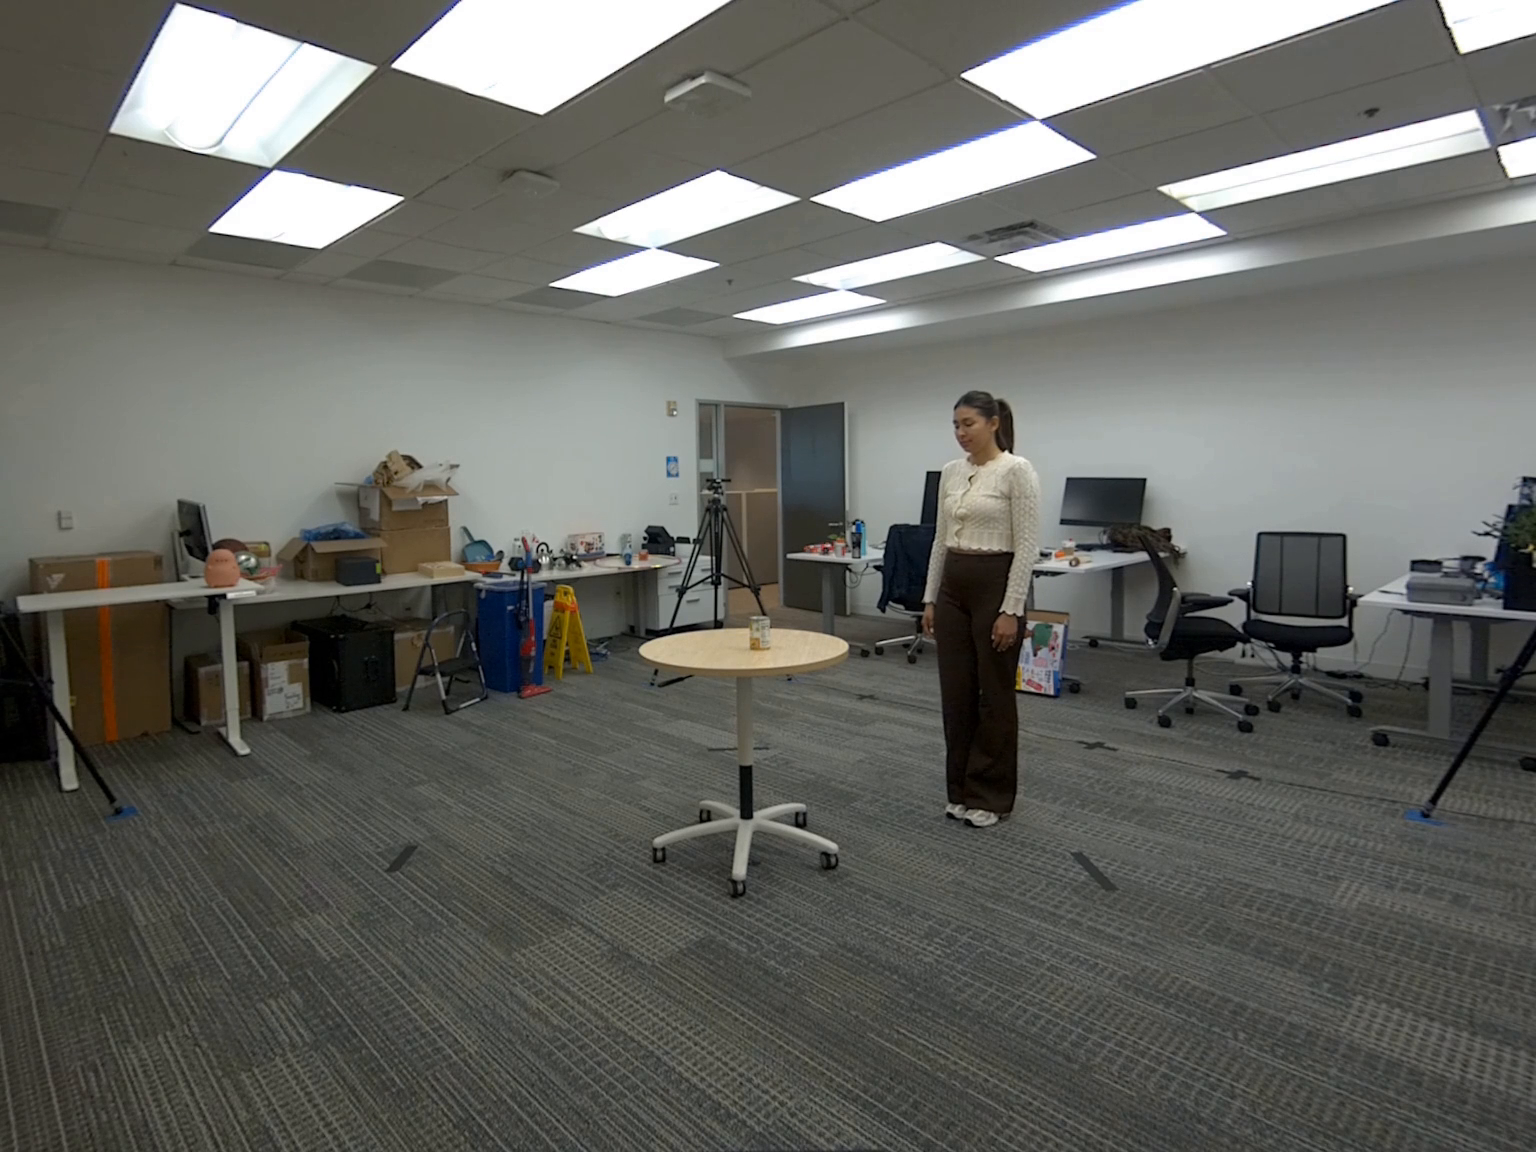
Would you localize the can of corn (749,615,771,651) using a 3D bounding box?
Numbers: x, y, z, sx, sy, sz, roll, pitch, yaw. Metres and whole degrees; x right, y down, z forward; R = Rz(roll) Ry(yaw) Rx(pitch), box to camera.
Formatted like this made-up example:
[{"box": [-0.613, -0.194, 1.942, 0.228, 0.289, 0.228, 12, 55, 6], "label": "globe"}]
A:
[{"box": [-0.027, 0.206, 3.080, 0.074, 0.110, 0.074, 0, 5, -2], "label": "can of corn"}]
